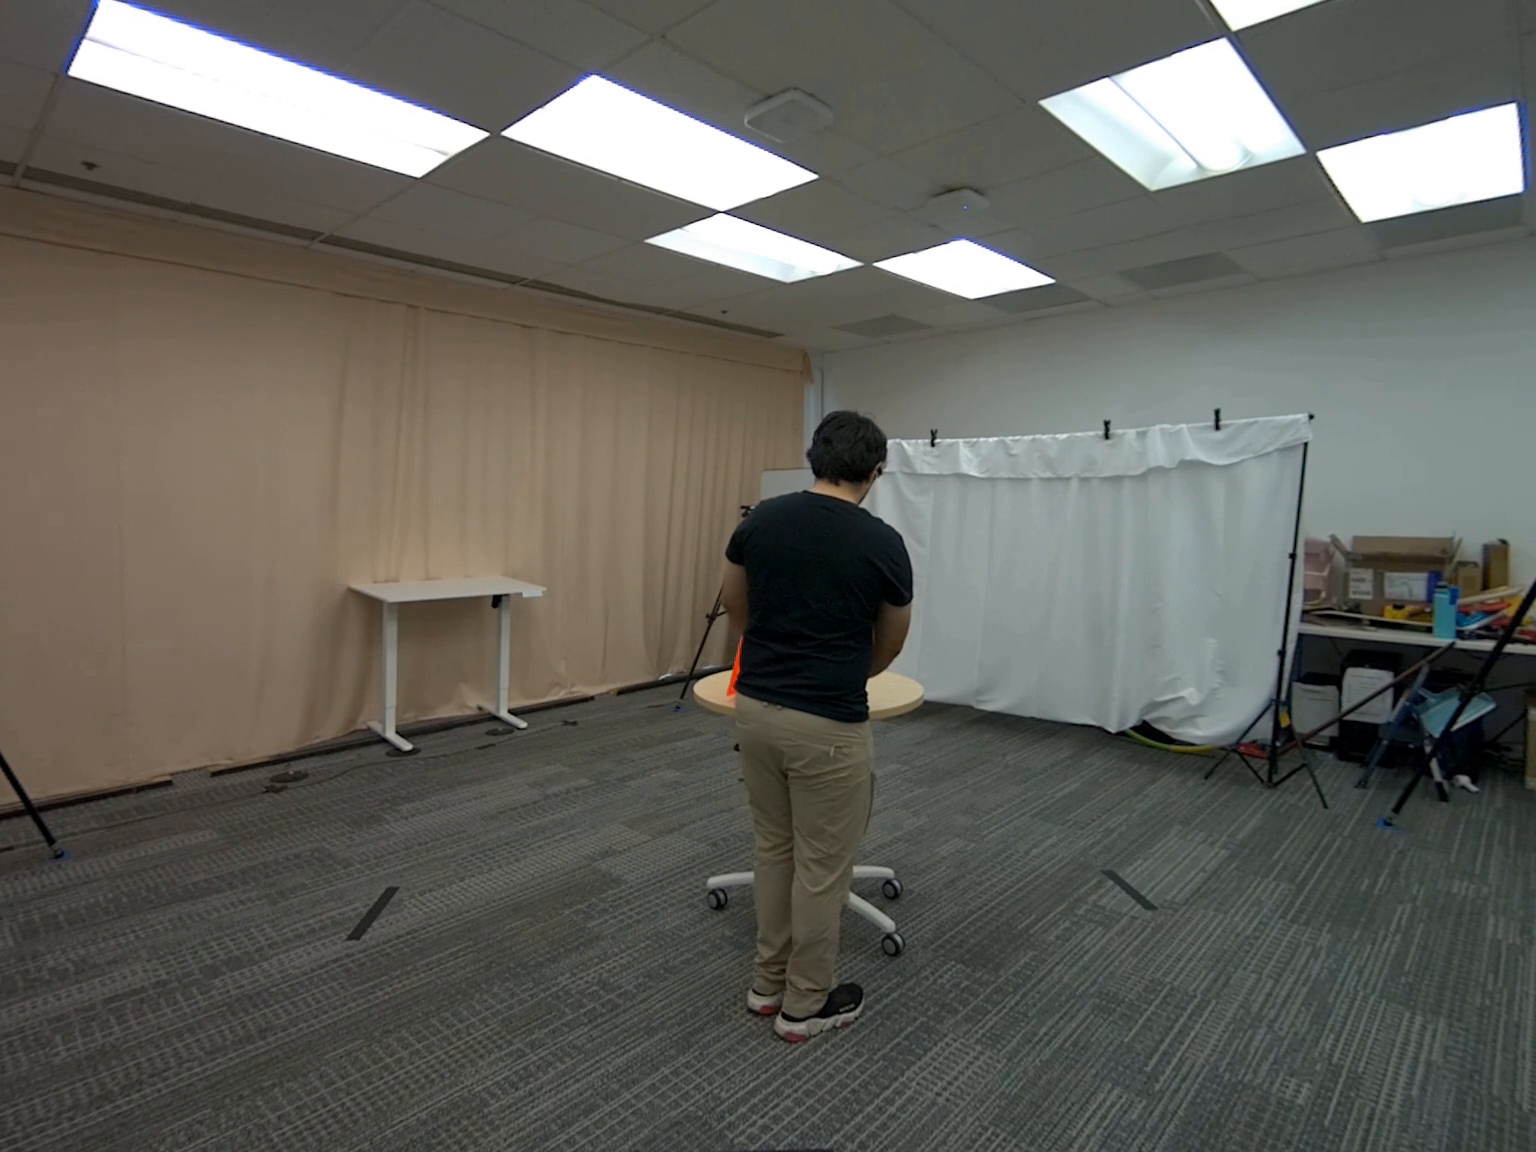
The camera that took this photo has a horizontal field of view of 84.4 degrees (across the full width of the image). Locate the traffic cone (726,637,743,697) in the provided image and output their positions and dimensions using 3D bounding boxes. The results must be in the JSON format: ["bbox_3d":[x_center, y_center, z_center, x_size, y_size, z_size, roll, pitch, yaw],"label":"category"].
[{"bbox_3d":[0.104,0.342,2.621,0.395,0.203,0.199,19,7,27],"label":"traffic cone"}]
